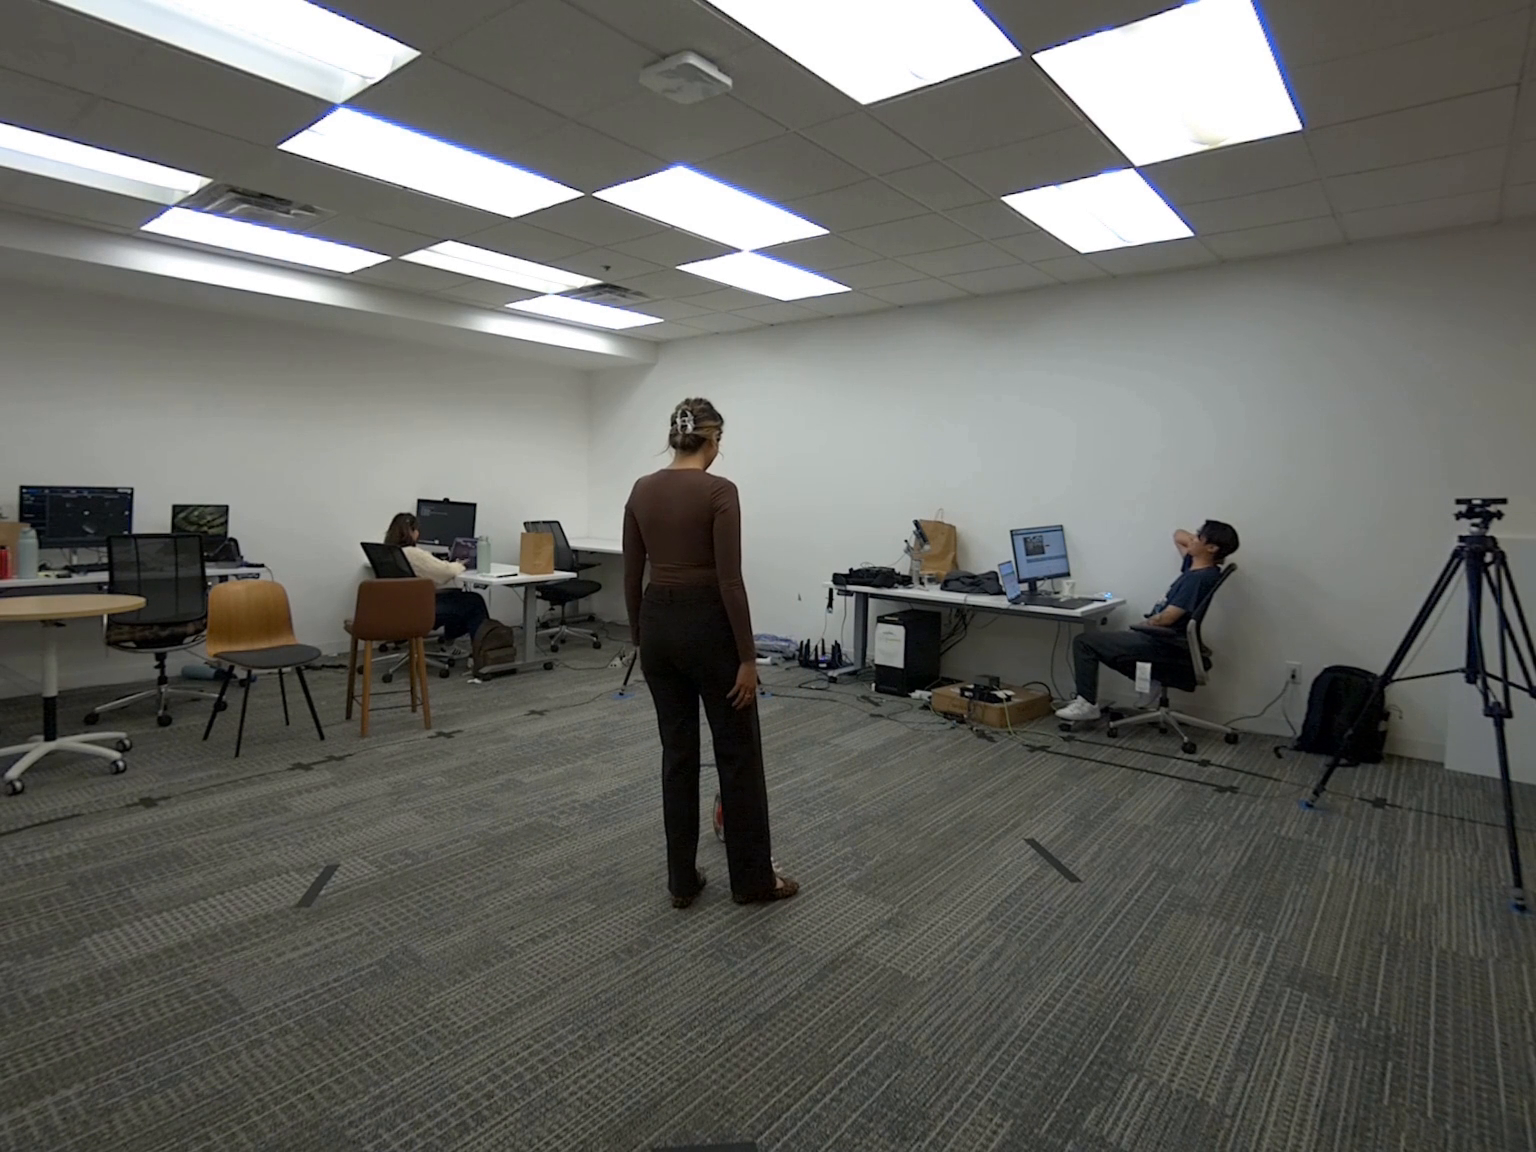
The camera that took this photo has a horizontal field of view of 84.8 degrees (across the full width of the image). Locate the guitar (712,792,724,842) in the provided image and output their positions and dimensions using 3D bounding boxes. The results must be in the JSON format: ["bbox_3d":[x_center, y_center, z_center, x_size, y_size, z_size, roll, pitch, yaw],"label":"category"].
[{"bbox_3d":[-0.087,1.013,3.214,0.069,0.190,0.518,-2,23,-28],"label":"guitar"}]
